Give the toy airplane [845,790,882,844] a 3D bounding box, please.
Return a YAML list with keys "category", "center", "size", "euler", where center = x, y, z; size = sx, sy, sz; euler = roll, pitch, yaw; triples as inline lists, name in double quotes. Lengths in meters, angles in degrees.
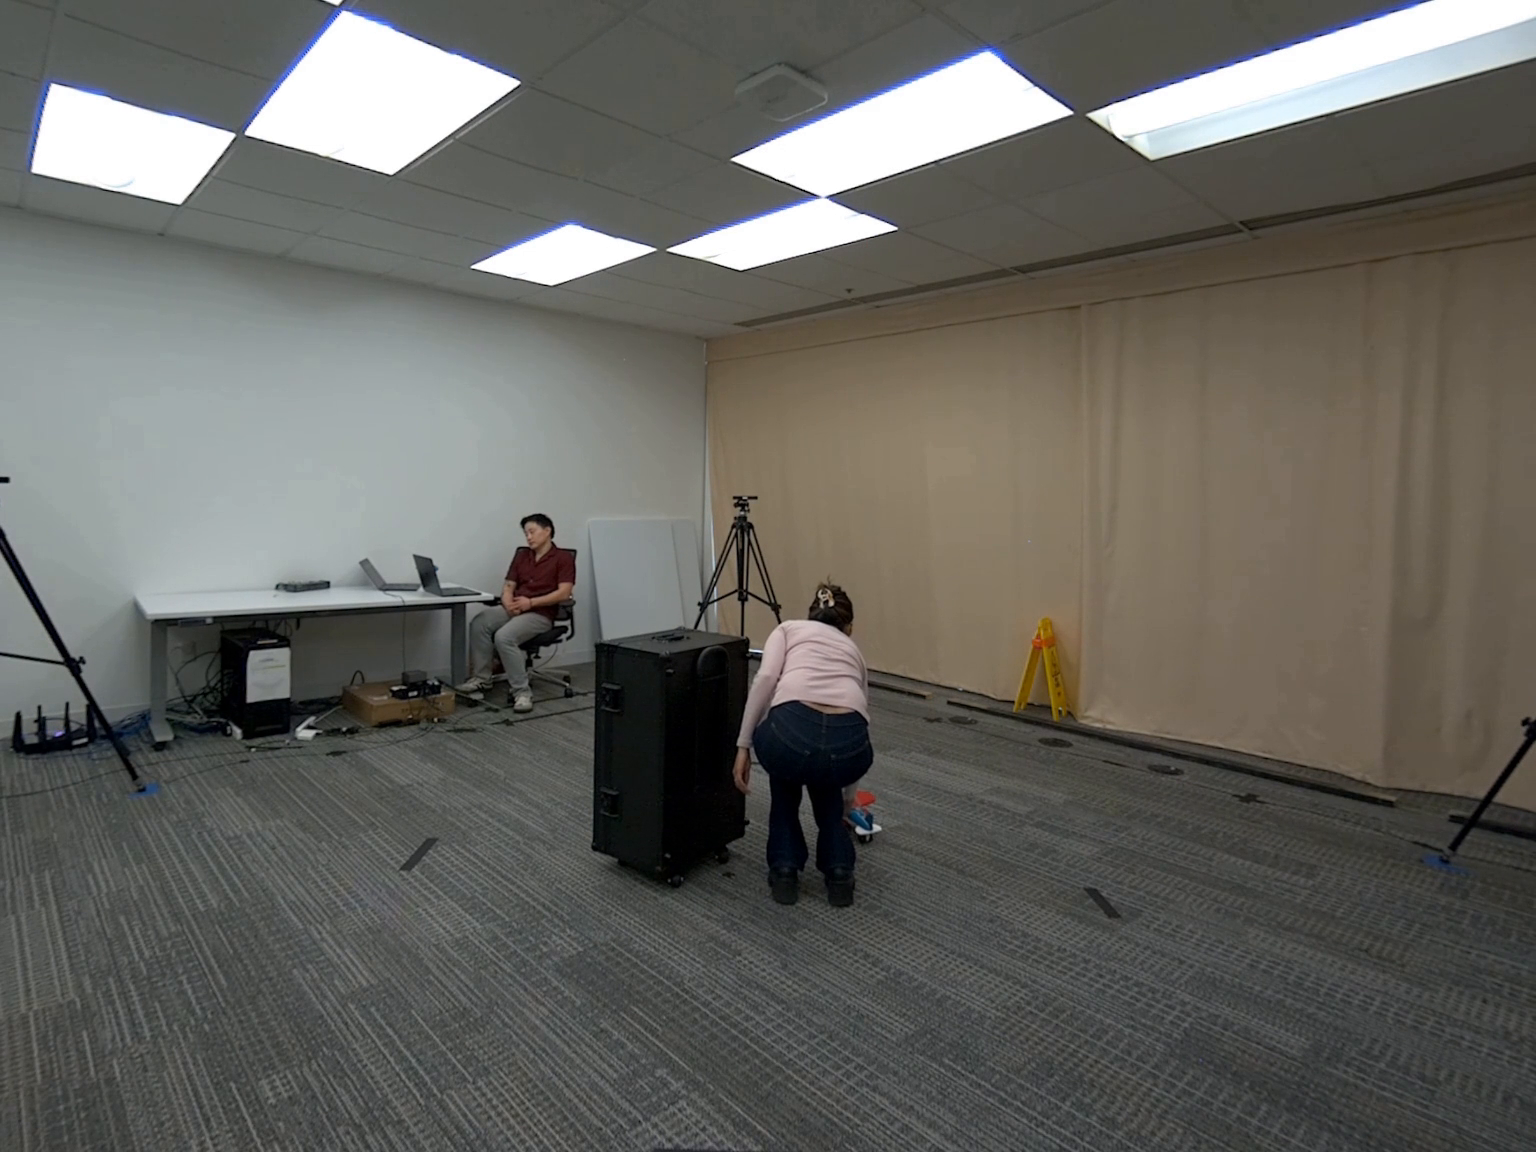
- category: "toy airplane"
  center: [0.357, 1.004, 3.517]
  size: [0.265, 0.156, 0.246]
  euler: [0, 3, 31]
